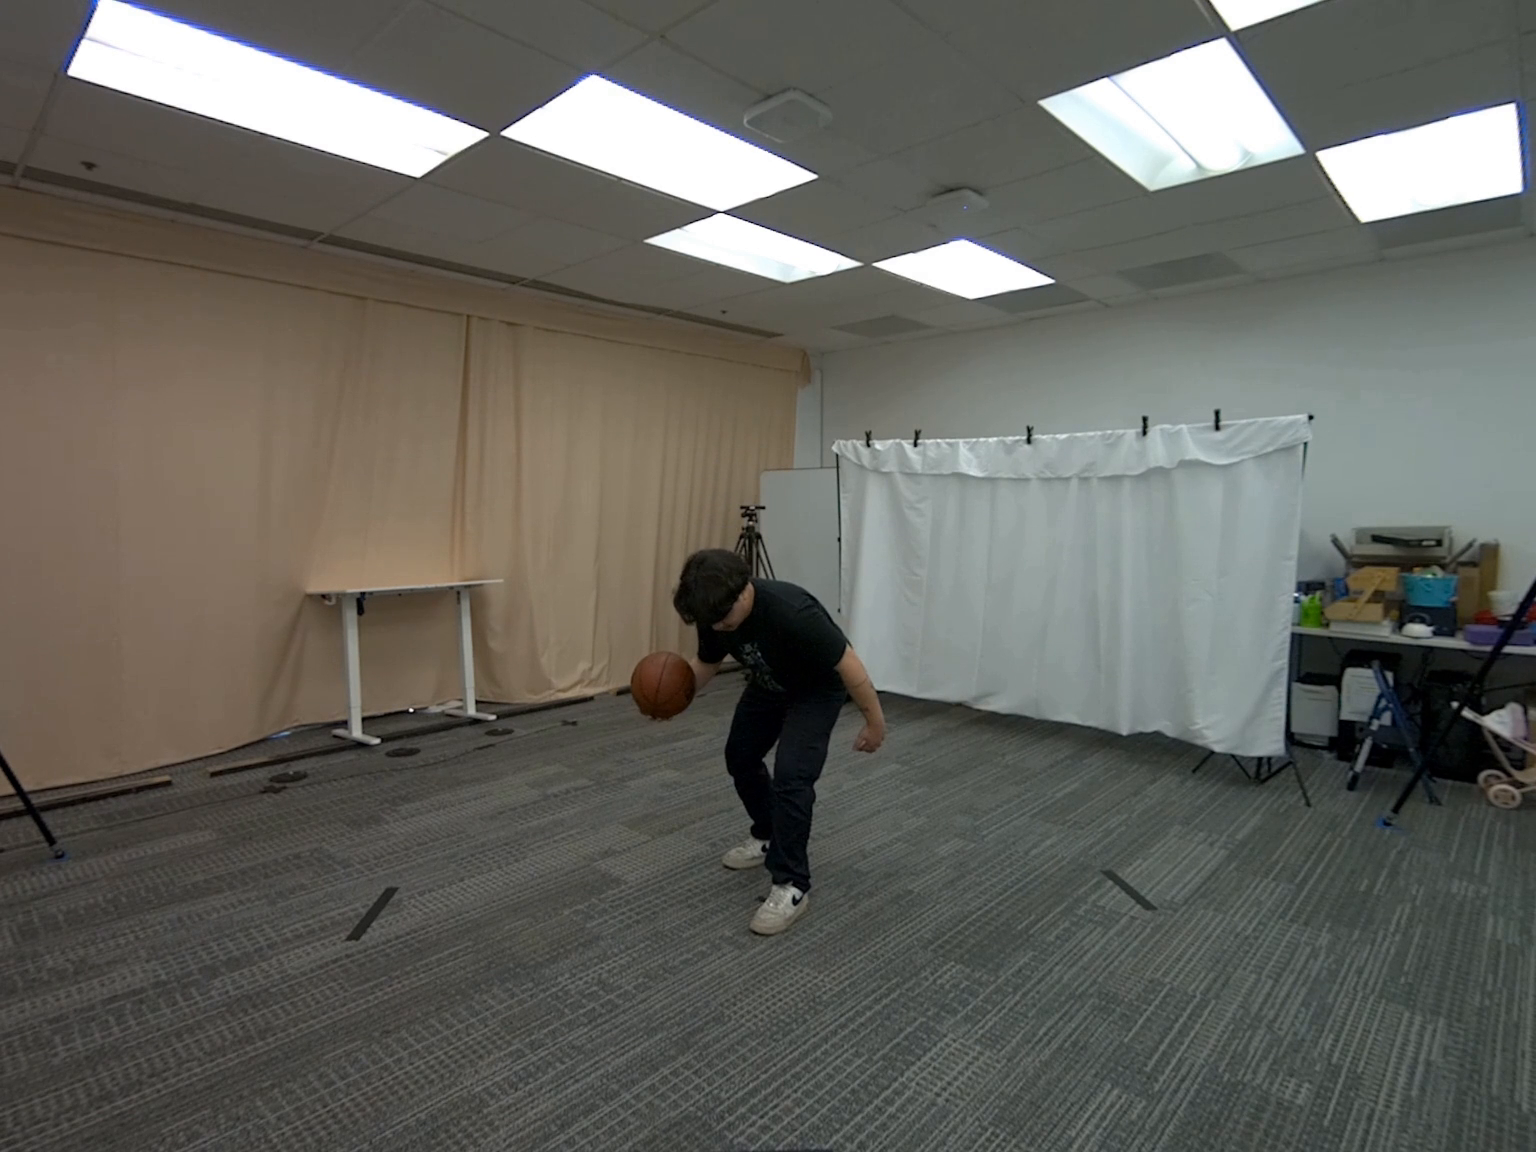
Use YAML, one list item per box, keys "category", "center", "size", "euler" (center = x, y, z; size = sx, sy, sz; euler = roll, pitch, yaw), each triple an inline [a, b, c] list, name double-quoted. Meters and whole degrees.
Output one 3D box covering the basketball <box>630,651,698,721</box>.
- category: "basketball"
  center: [-0.370, 0.386, 3.045]
  size: [0.236, 0.235, 0.237]
  euler: [0, 4, -2]
